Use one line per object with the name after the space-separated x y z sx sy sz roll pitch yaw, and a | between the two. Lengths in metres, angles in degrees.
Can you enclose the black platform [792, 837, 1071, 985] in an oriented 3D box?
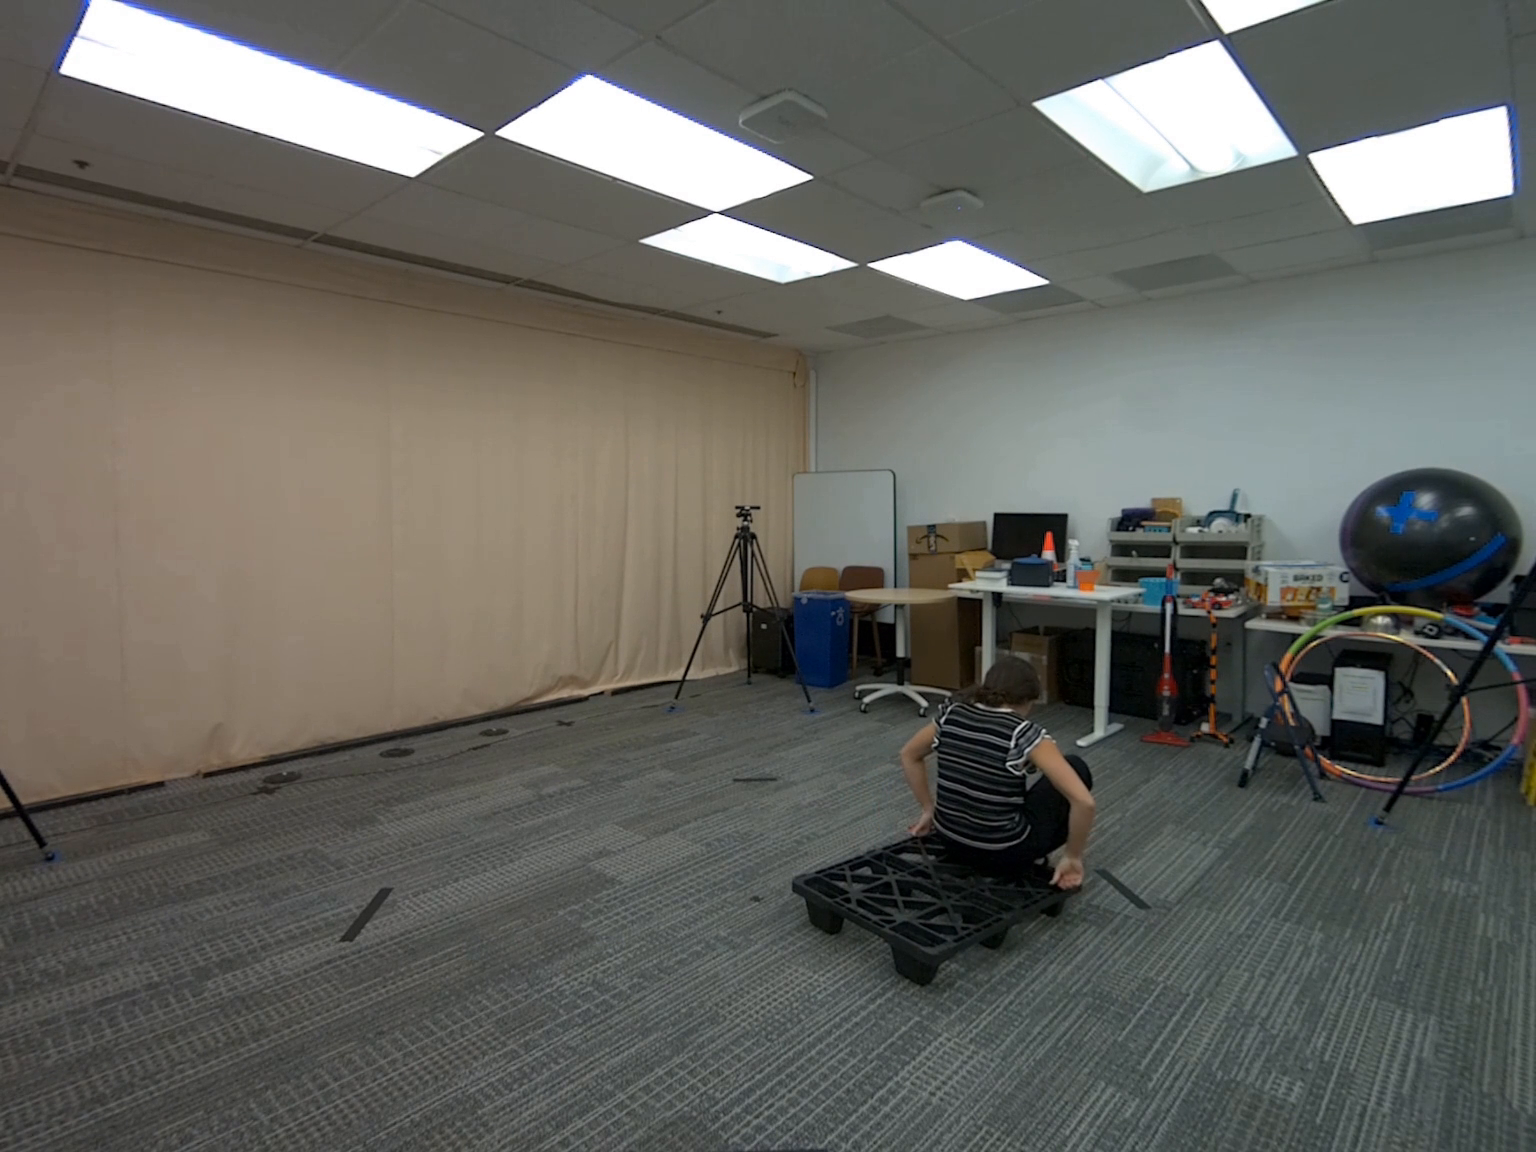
0.578 1.087 2.833 0.781 0.143 0.625 -3 7 -39 | black platform
